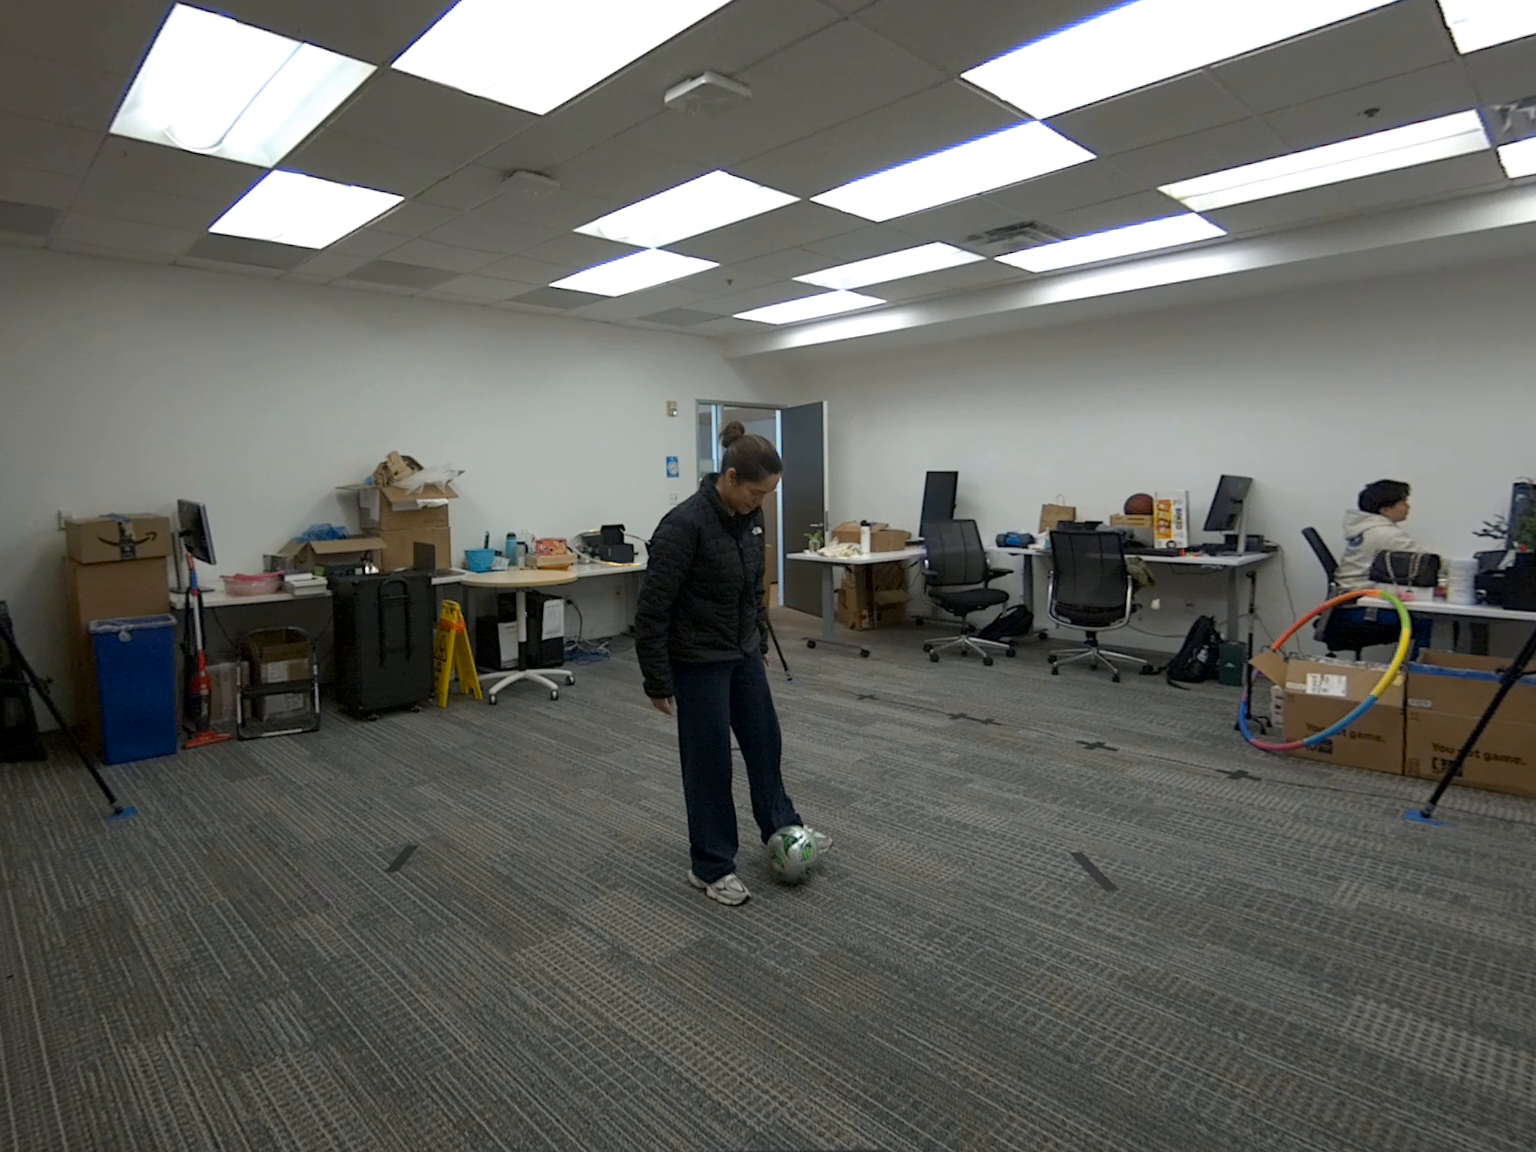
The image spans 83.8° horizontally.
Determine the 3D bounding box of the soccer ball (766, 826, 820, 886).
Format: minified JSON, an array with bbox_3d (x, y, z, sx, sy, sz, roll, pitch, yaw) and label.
[{"bbox_3d":[0.082,0.963,2.960,0.187,0.187,0.188,-1,5,-2],"label":"soccer ball"}]
